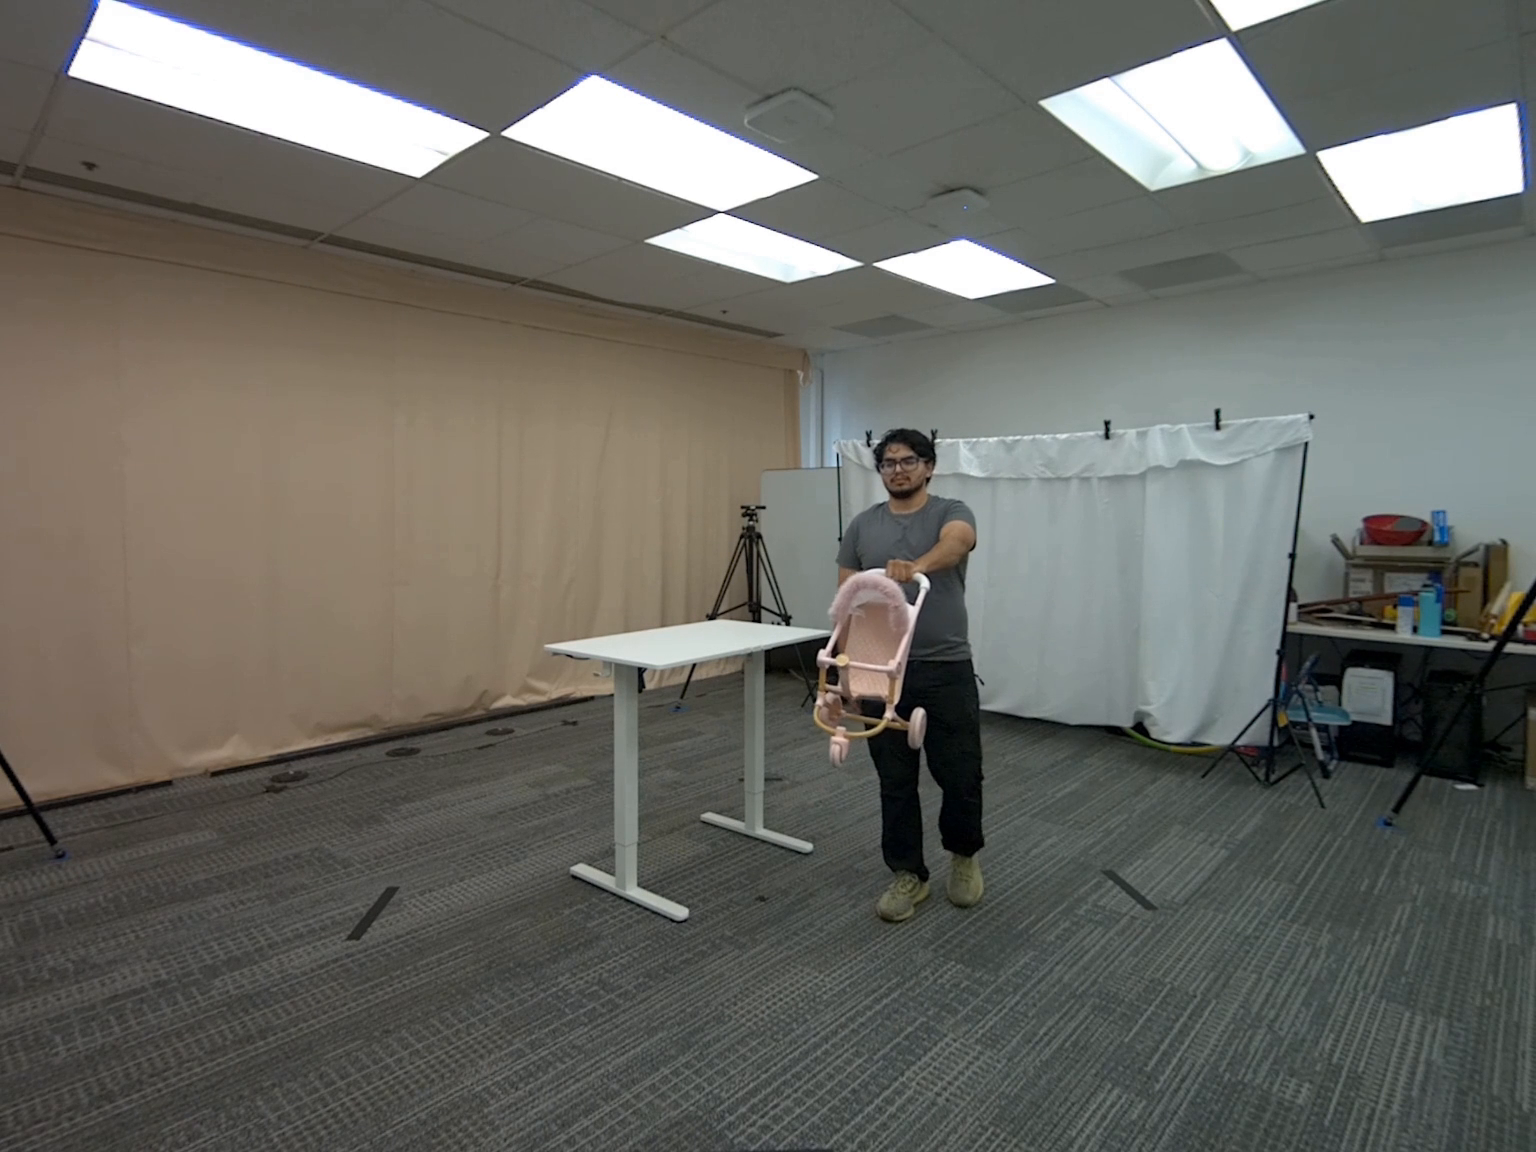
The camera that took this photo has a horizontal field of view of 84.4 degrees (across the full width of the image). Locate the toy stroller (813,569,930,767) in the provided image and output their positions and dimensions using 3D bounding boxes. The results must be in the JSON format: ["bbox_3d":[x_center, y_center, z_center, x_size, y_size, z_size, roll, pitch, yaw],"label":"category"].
[{"bbox_3d":[0.271,0.232,2.243,0.290,0.536,0.330,5,-6,31],"label":"toy stroller"}]
